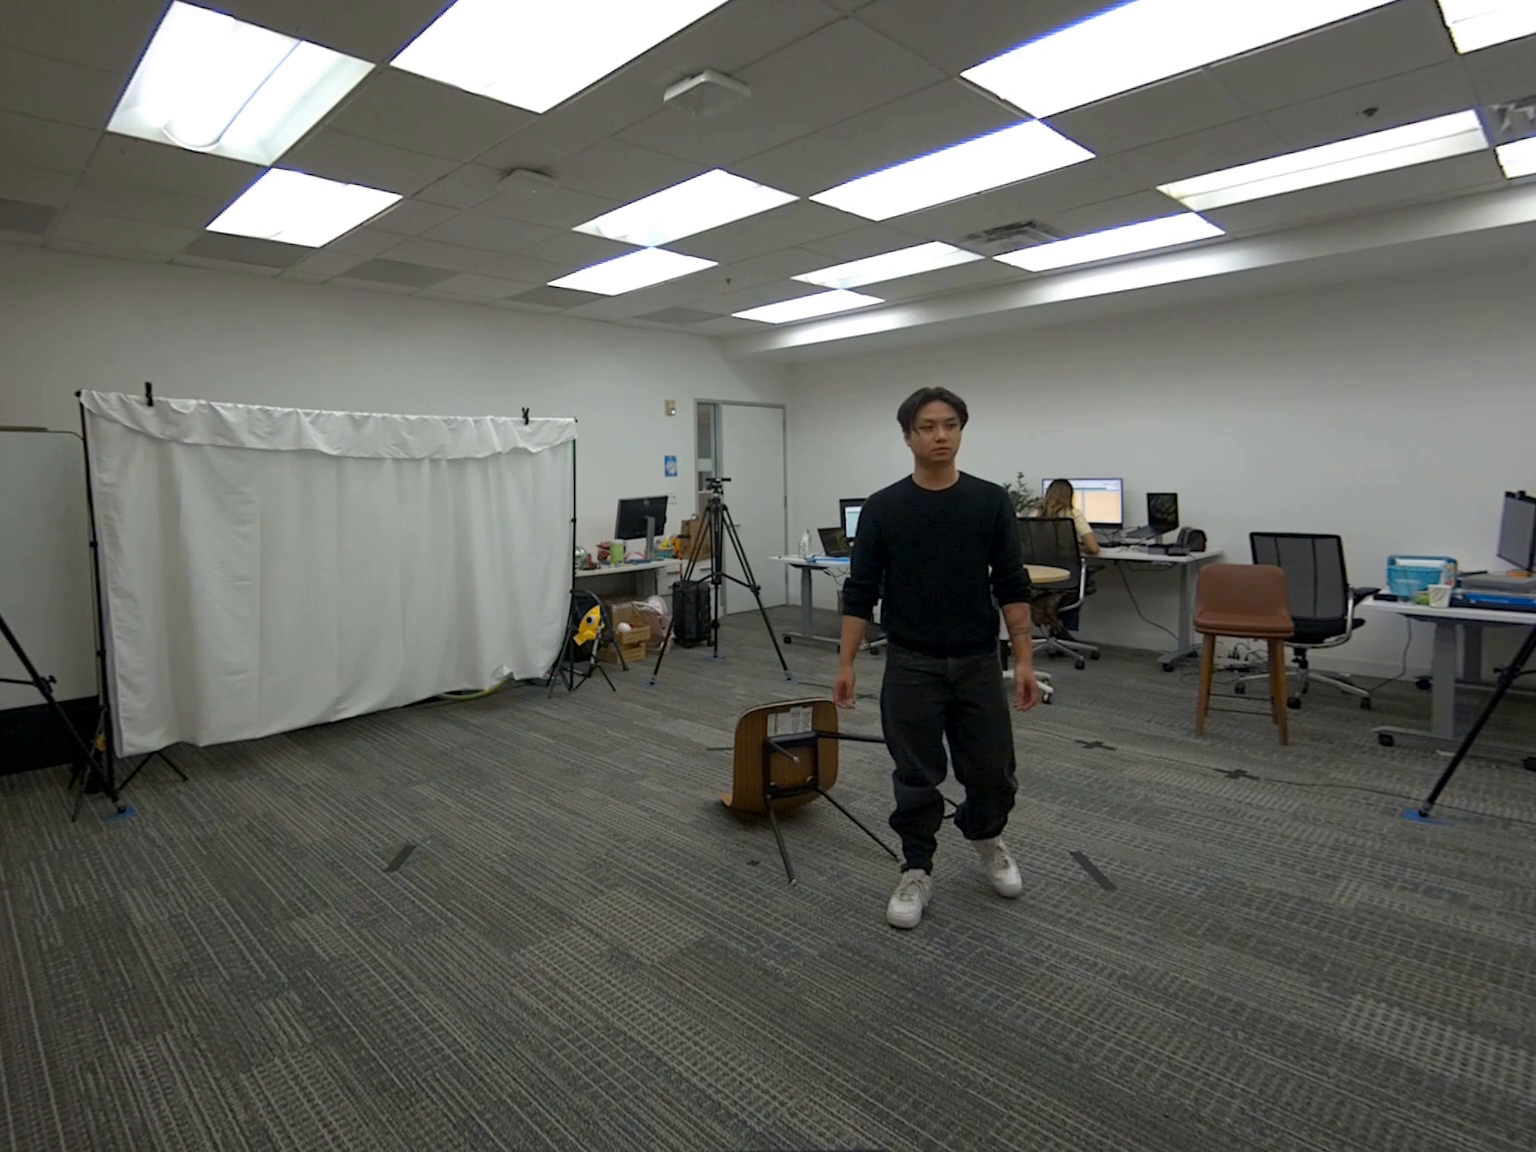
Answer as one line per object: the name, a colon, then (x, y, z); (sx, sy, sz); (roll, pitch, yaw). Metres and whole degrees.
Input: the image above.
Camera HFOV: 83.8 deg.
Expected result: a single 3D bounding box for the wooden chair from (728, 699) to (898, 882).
wooden chair: (0.098, 0.751, 3.374); (0.468, 0.521, 0.899); (-3, 5, -25)
